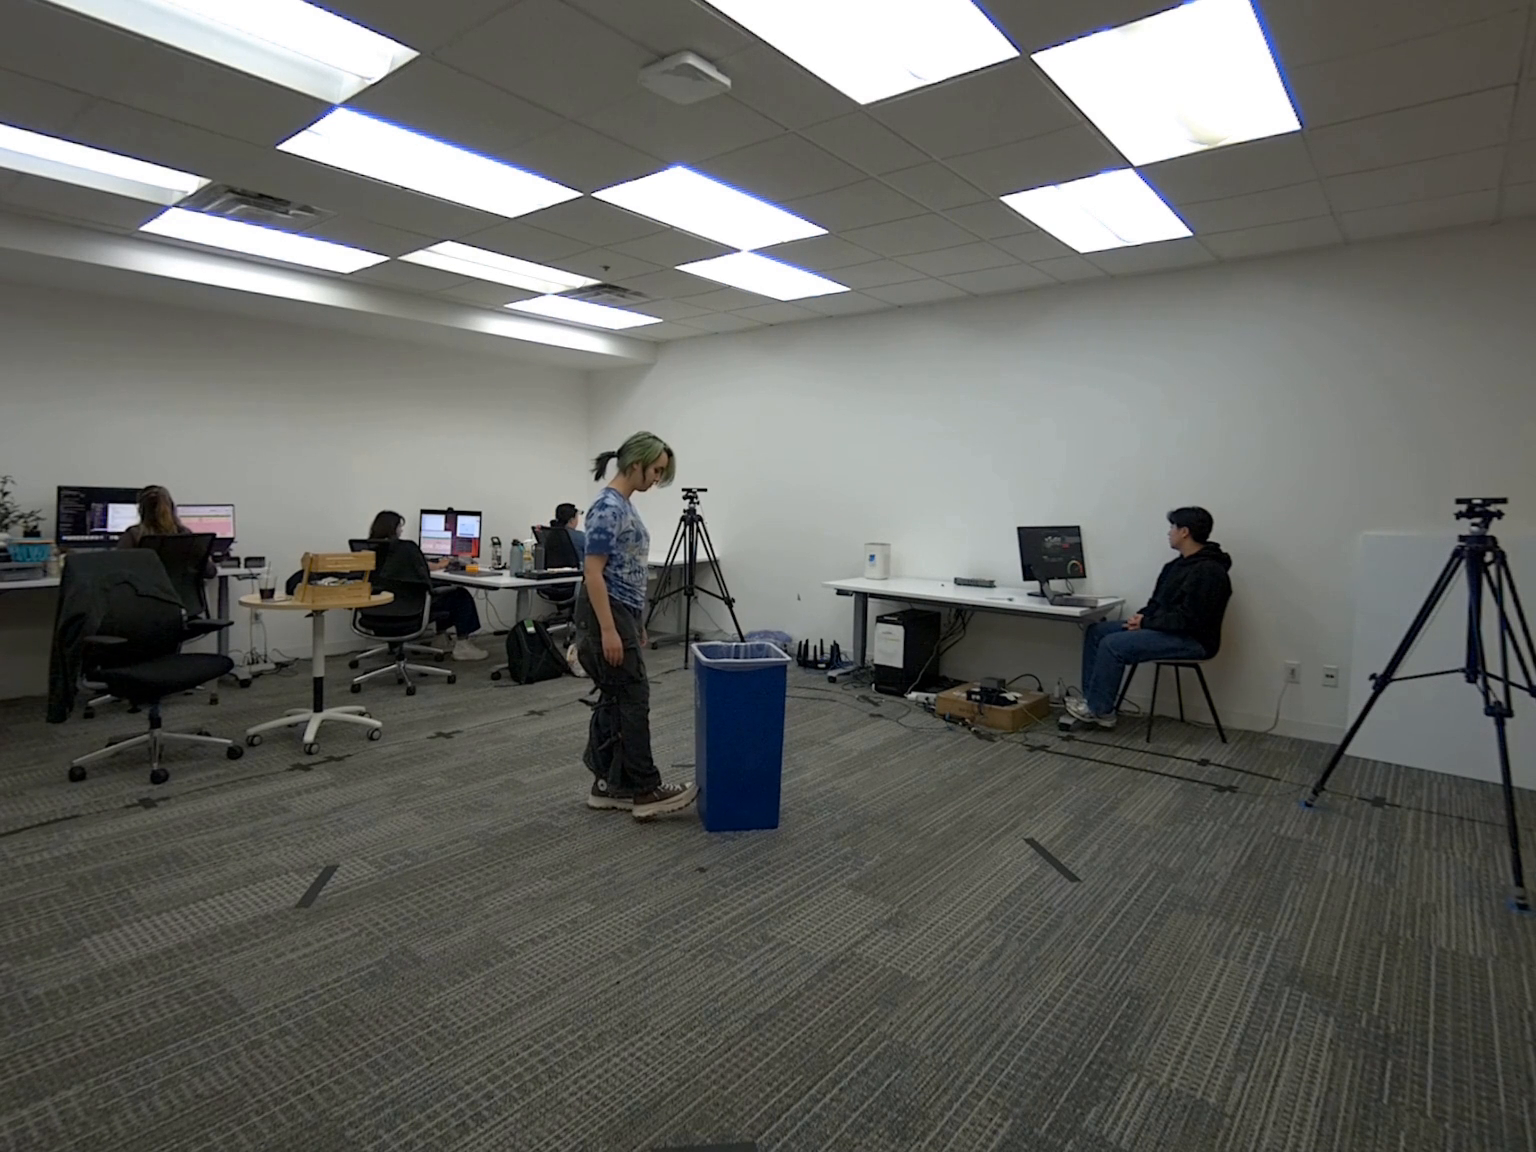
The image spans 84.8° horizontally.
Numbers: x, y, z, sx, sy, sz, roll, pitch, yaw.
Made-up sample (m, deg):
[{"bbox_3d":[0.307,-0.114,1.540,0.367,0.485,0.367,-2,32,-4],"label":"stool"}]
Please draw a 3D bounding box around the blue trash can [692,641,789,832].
[{"bbox_3d":[-0.136,0.668,3.594,0.373,0.711,0.380,0,3,-12],"label":"blue trash can"}]
